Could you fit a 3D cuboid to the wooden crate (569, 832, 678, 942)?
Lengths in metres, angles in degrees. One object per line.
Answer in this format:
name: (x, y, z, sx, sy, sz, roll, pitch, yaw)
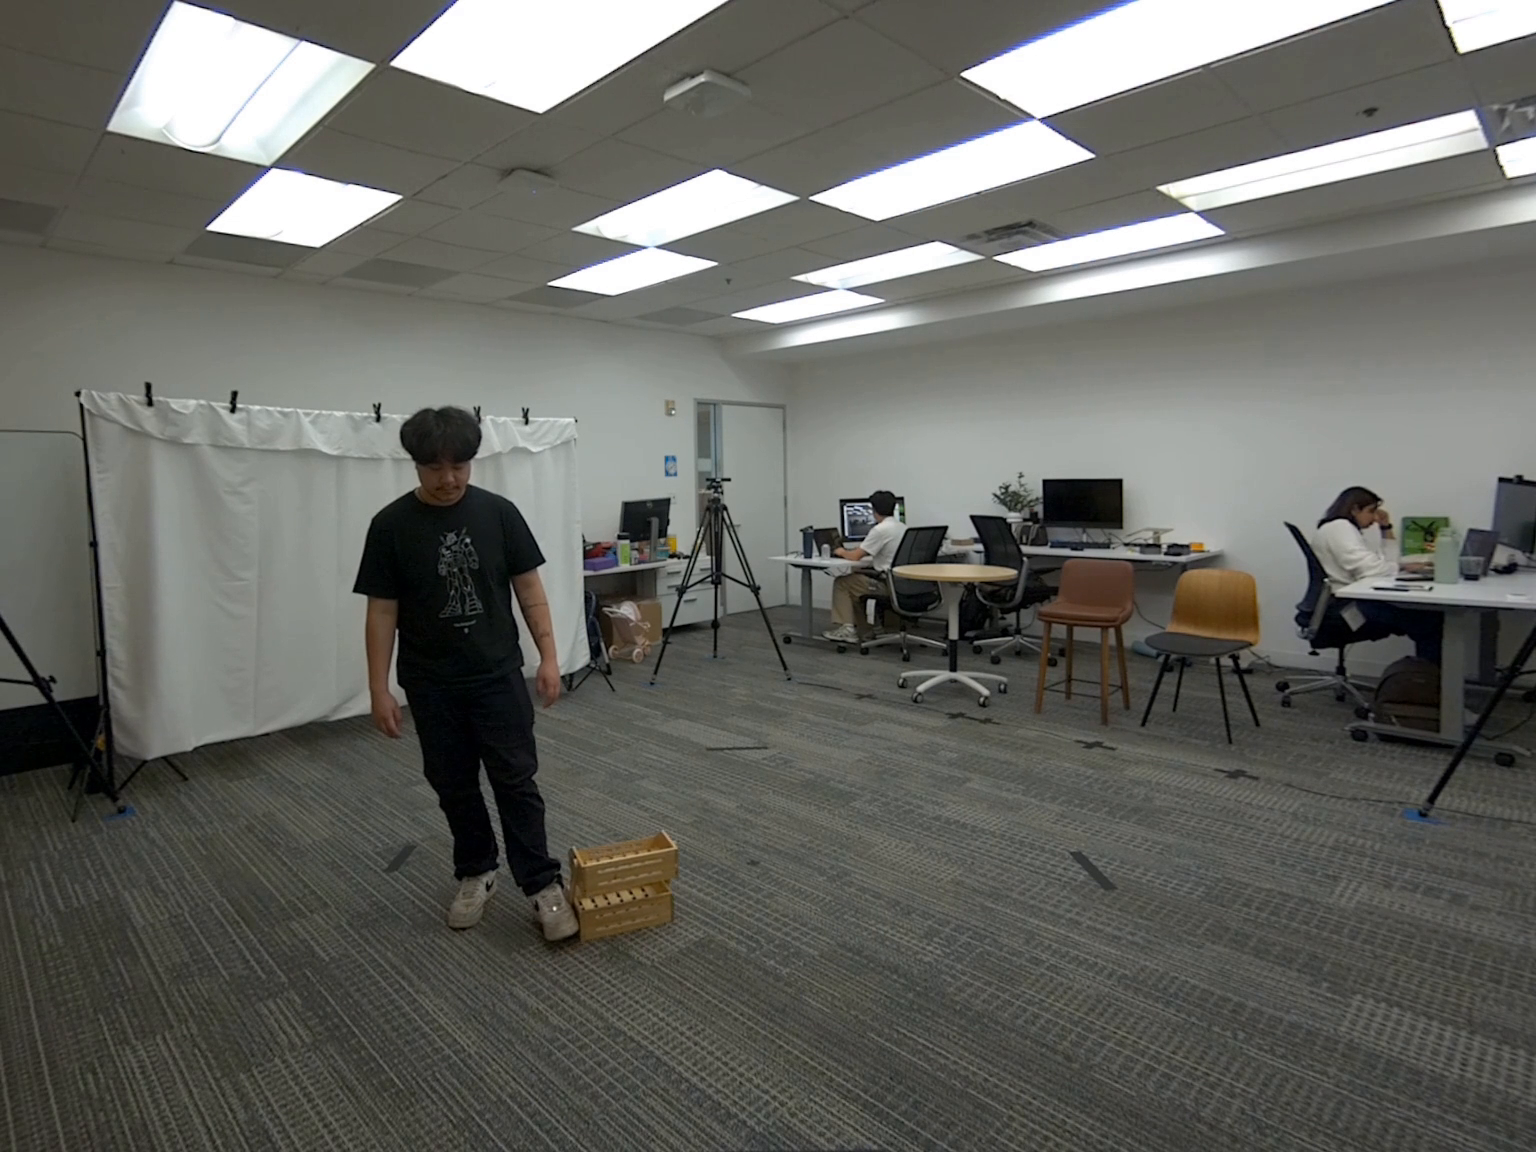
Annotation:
wooden crate: (-0.476, 0.957, 2.731, 0.318, 0.272, 0.310, -4, 7, -24)
